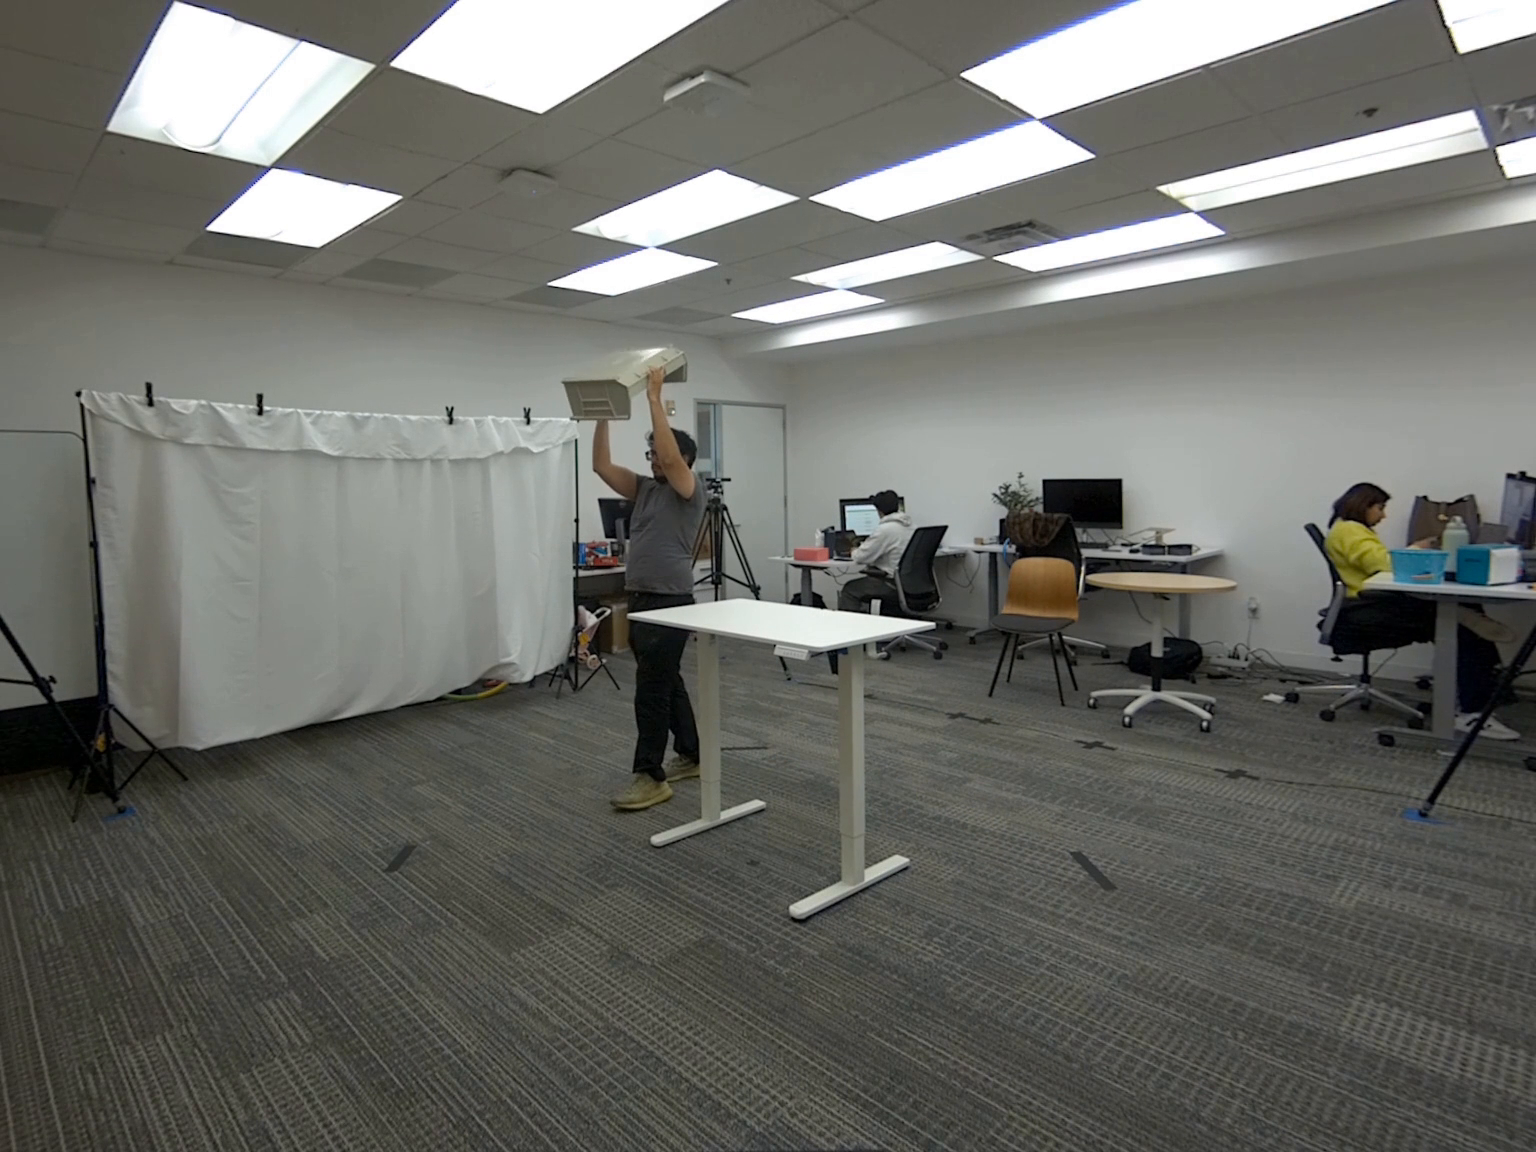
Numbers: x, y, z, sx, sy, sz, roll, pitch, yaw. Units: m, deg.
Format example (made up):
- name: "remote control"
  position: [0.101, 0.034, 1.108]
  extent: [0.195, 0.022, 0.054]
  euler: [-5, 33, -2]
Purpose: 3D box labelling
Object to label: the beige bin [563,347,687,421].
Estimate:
- name: "beige bin"
  position: [-0.607, -0.836, 3.685]
  extent: [0.388, 0.184, 0.422]
  euler: [6, 36, 33]
